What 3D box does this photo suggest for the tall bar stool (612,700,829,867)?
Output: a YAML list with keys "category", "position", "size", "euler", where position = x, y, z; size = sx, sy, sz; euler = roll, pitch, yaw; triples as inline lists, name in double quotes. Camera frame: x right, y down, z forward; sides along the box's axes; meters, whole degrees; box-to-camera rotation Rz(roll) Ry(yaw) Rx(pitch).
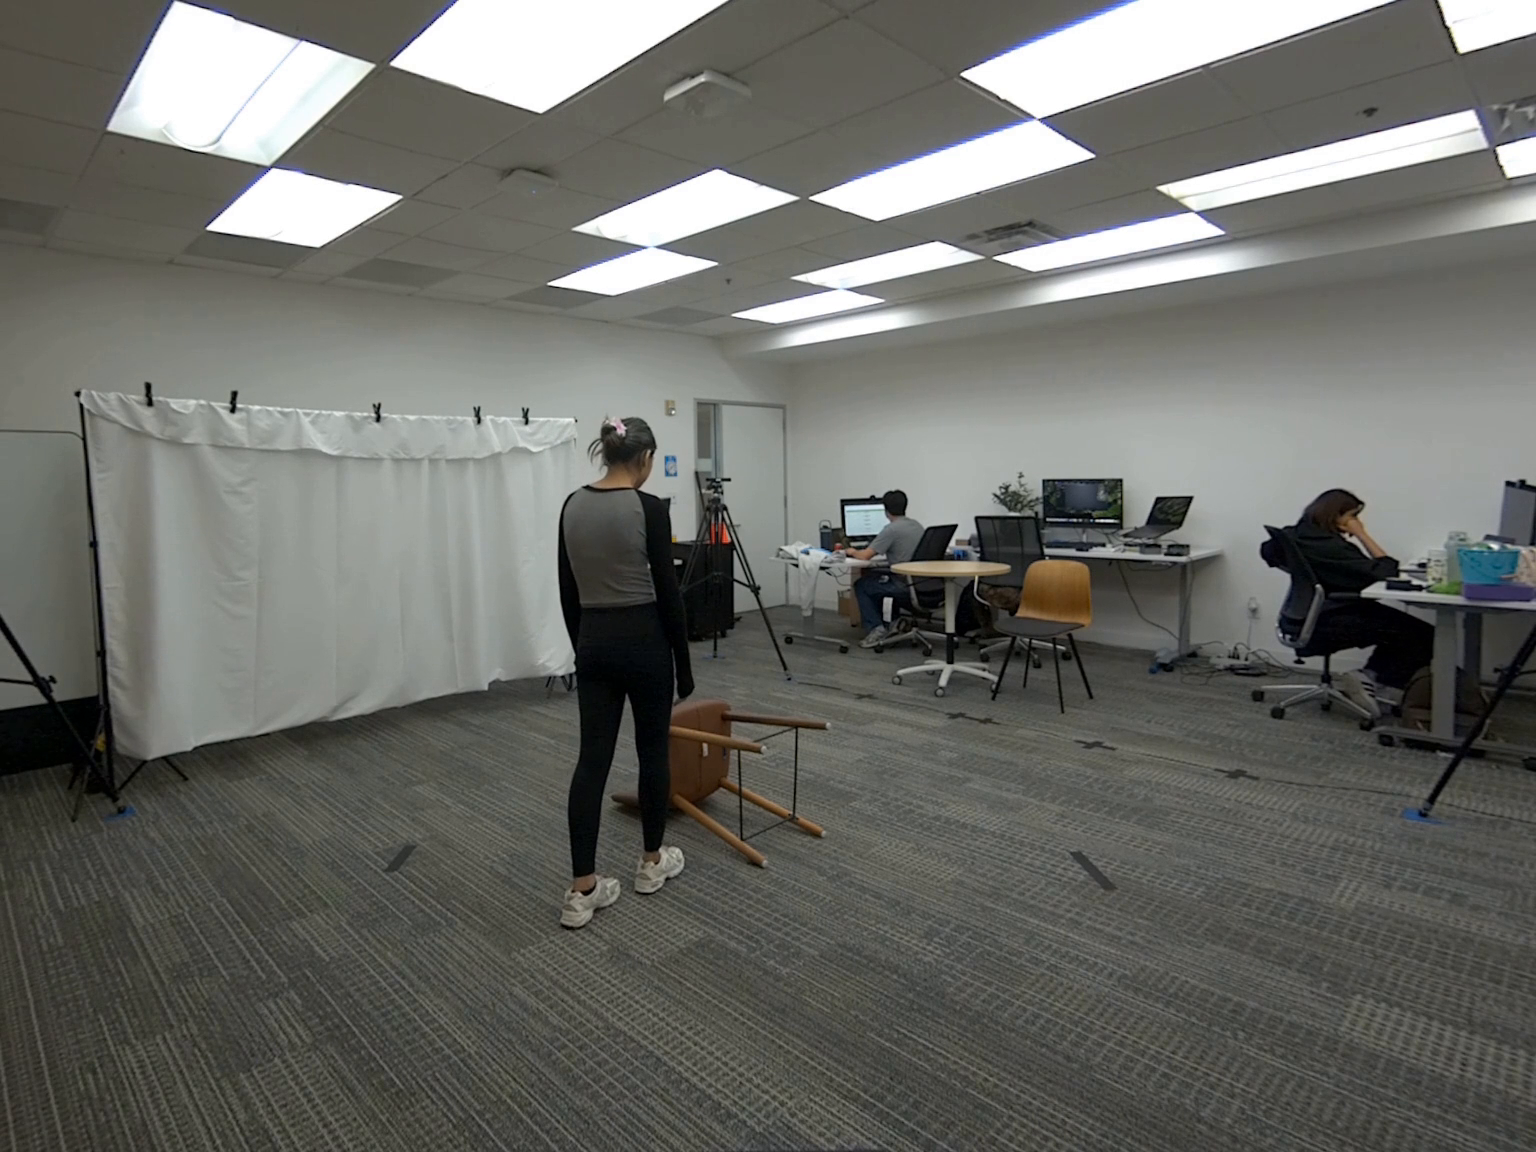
- category: "tall bar stool"
  position: [-0.221, 0.774, 3.473]
  size: [0.917, 0.465, 0.445]
  euler: [4, 7, 43]
